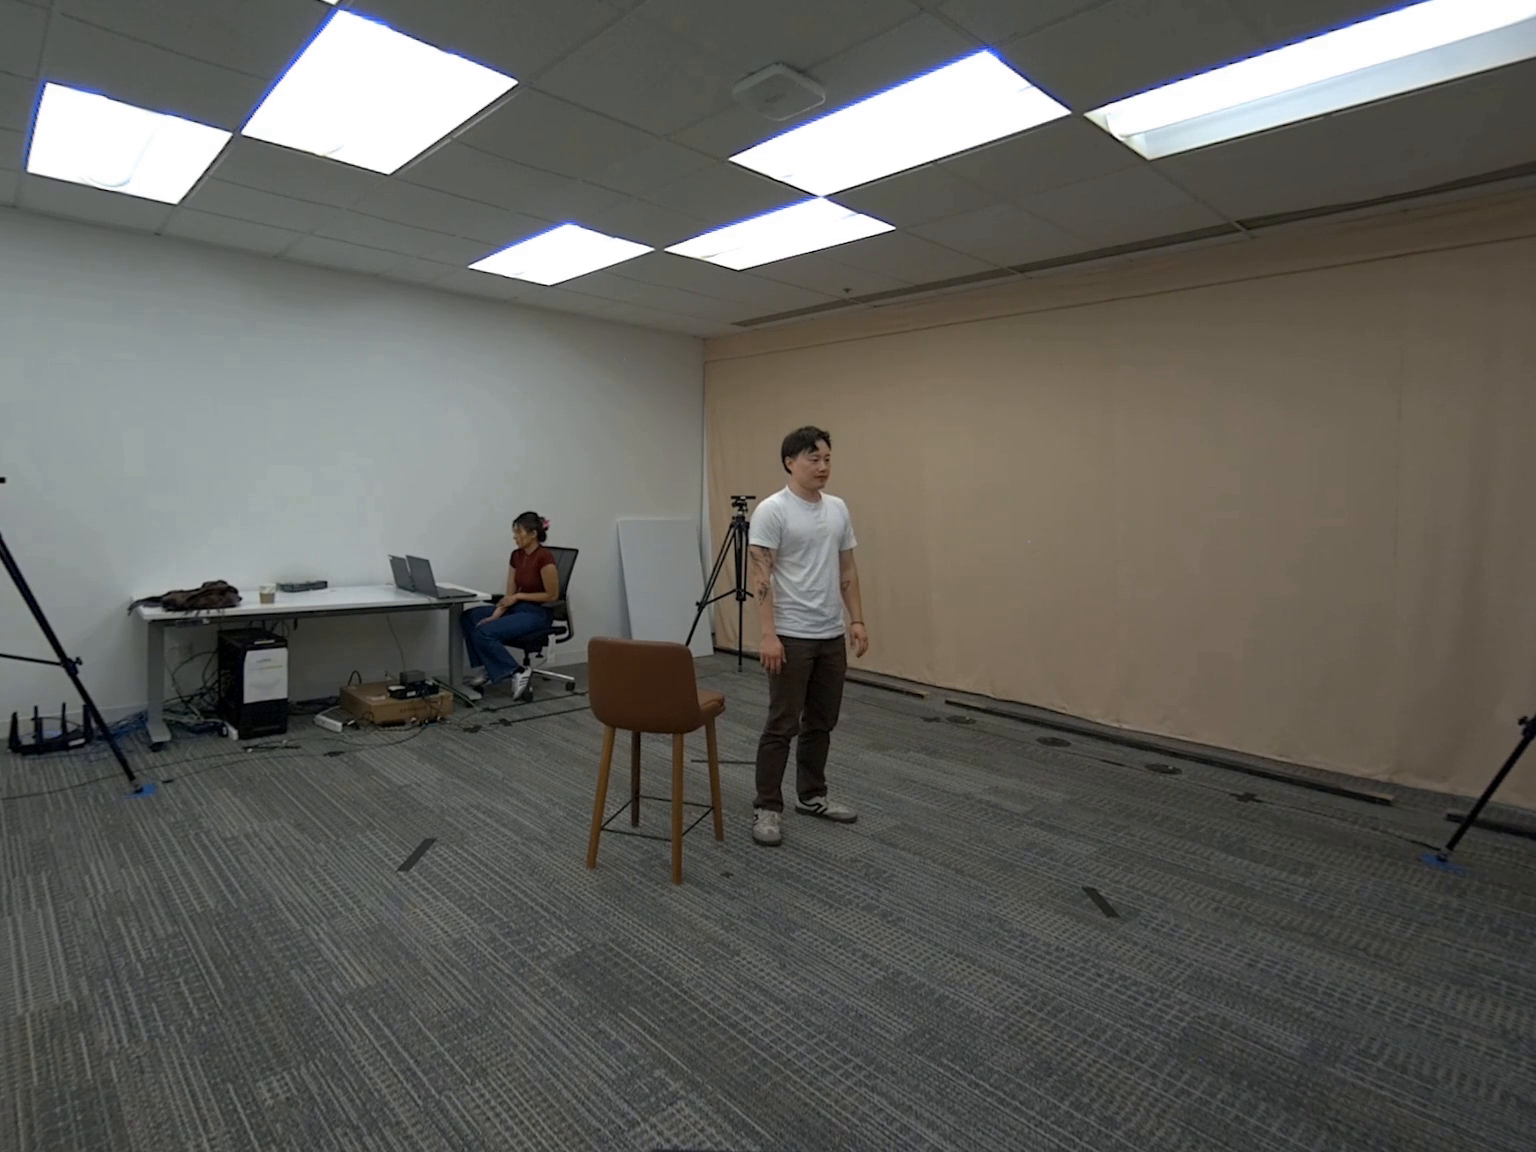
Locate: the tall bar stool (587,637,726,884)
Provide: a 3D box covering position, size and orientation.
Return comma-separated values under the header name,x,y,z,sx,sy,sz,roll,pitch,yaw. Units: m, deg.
name,x,y,z,sx,sy,sz,roll,pitch,yaw
tall bar stool,-0.437,0.649,3.252,0.463,0.887,0.462,2,5,19
